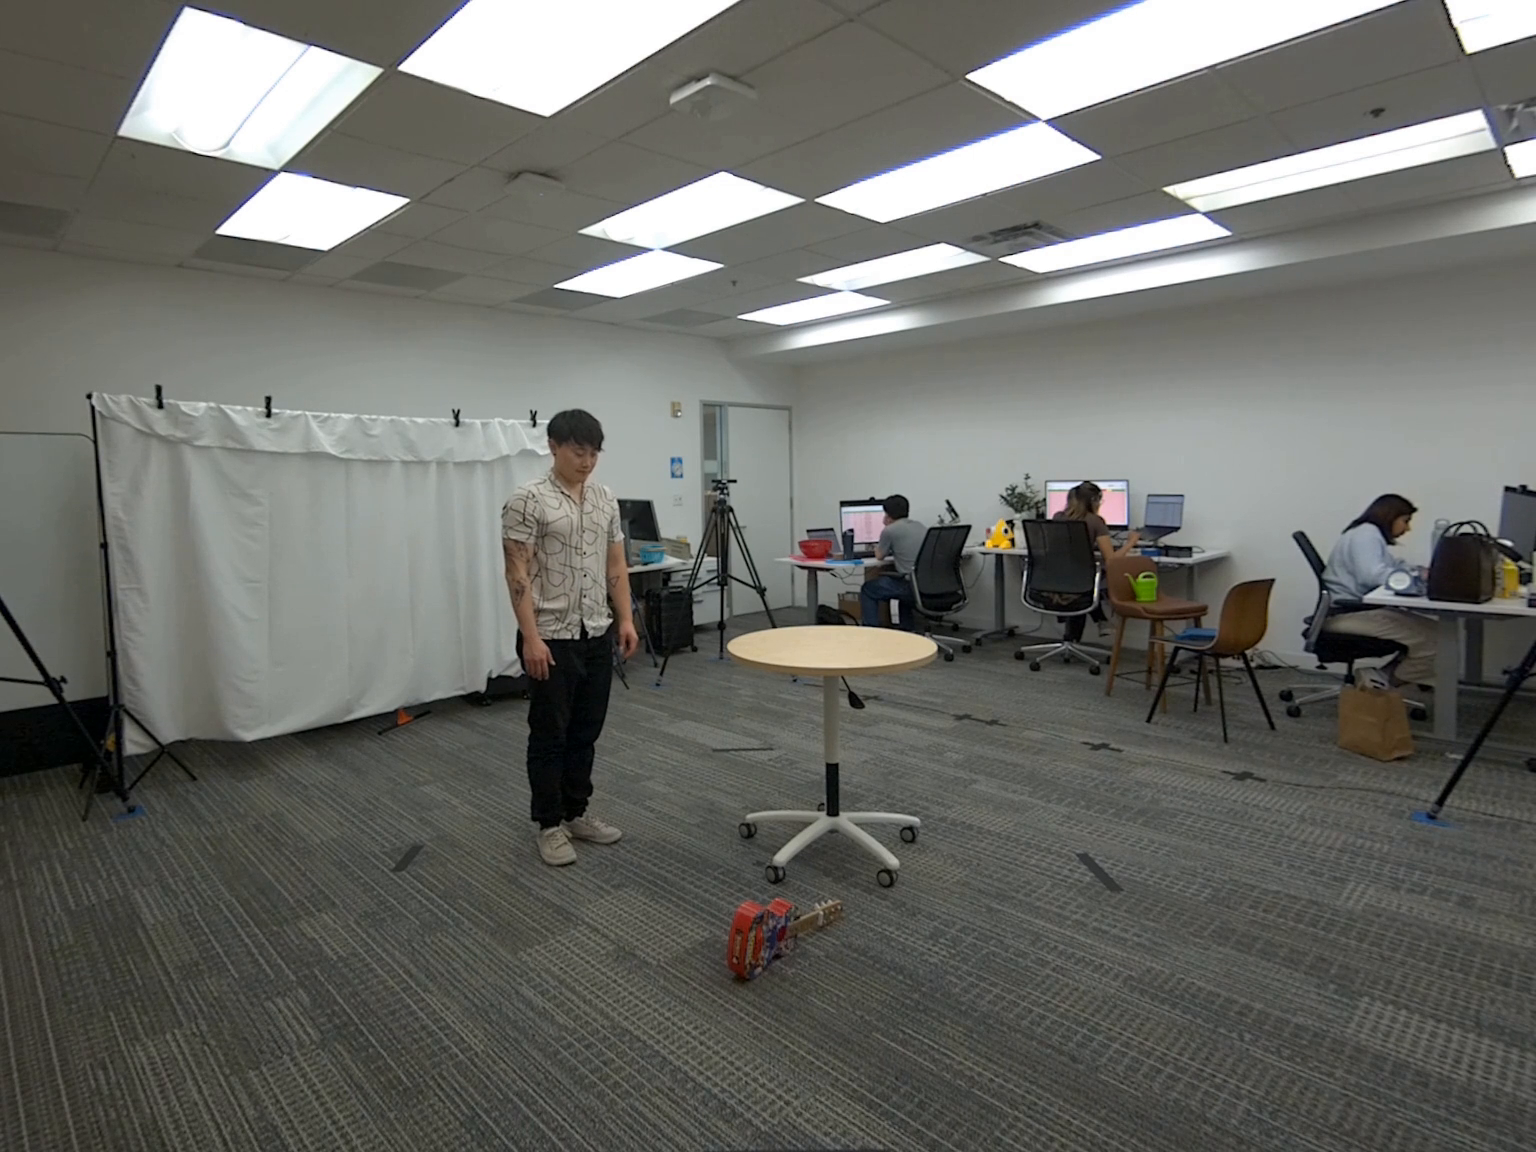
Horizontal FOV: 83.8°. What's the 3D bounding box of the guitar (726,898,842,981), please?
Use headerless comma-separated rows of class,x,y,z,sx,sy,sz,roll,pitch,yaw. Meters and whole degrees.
guitar,0.056,1.063,2.550,0.073,0.194,0.480,7,-8,39
